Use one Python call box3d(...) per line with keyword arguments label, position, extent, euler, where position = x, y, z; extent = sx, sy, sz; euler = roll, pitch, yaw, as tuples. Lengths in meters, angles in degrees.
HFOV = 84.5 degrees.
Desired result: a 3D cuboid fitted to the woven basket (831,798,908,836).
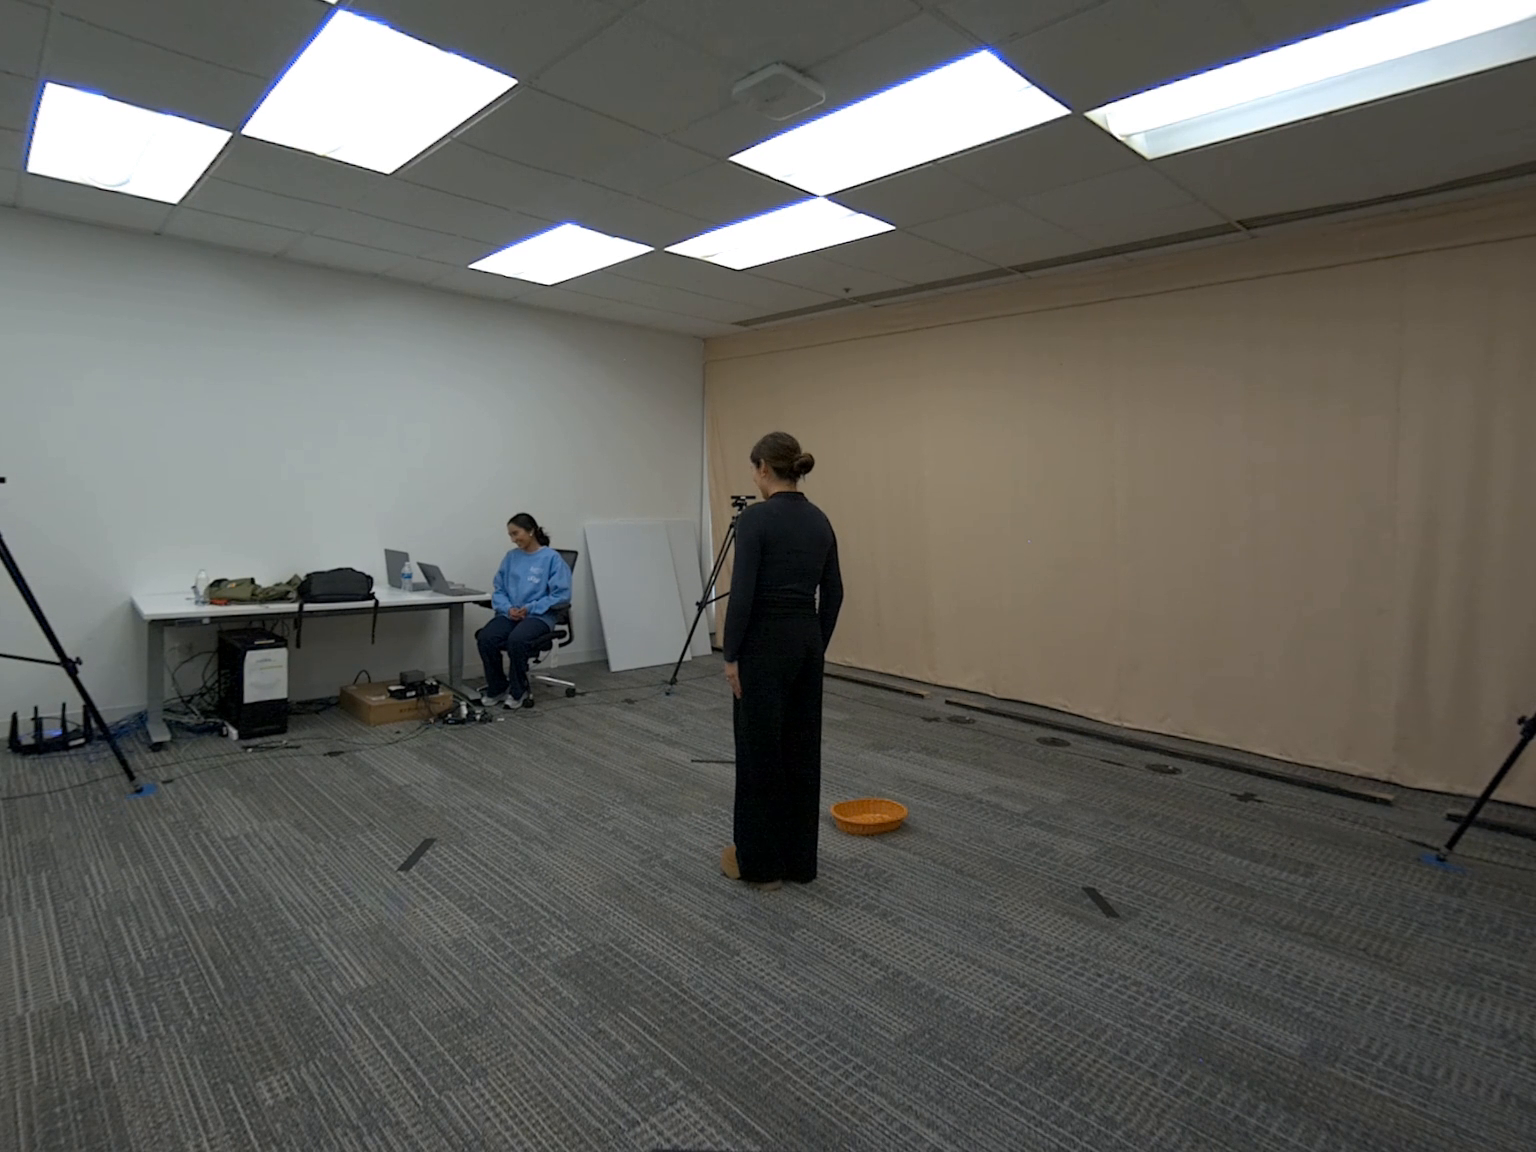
box3d(label="woven basket", position=(0.419, 1.029, 3.610), extent=(0.345, 0.073, 0.257), euler=(-1, 6, -21))
